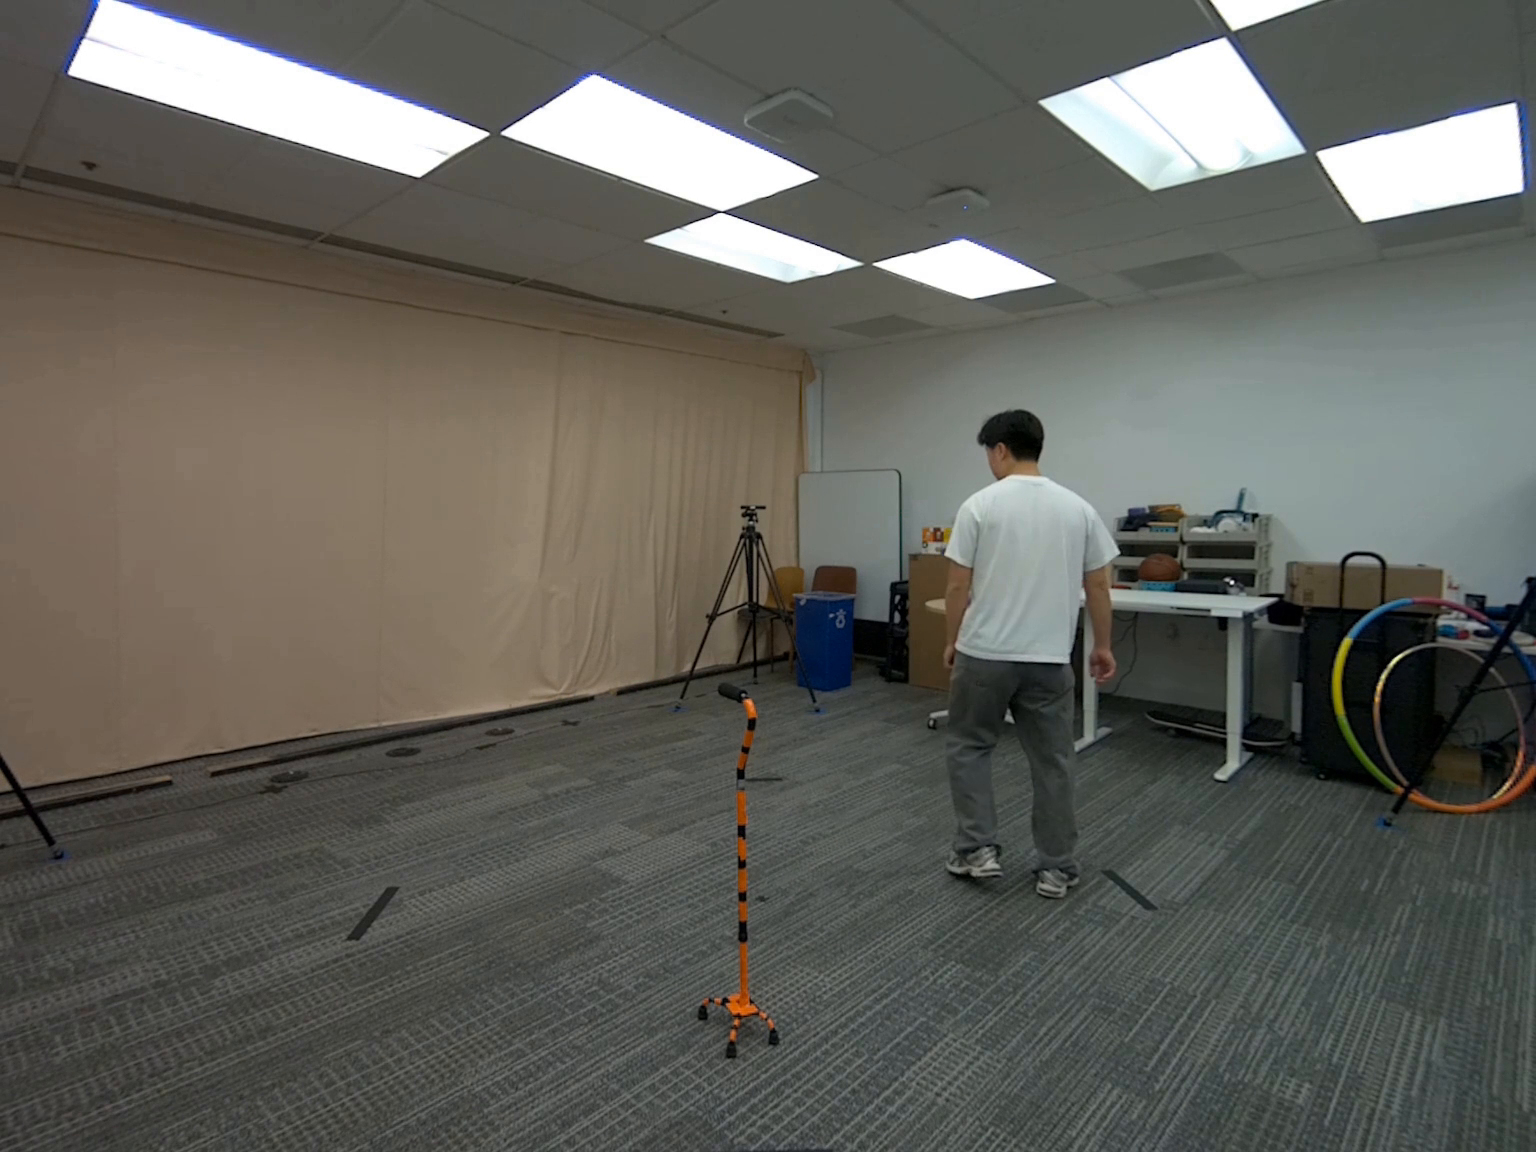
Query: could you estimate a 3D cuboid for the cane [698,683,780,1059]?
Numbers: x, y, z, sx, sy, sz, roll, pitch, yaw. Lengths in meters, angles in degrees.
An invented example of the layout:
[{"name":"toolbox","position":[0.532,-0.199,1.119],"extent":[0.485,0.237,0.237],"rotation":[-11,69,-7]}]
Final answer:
[{"name":"cane","position":[-0.078,0.759,2.213],"extent":[0.148,0.906,0.212],"rotation":[-2,3,-28]}]
